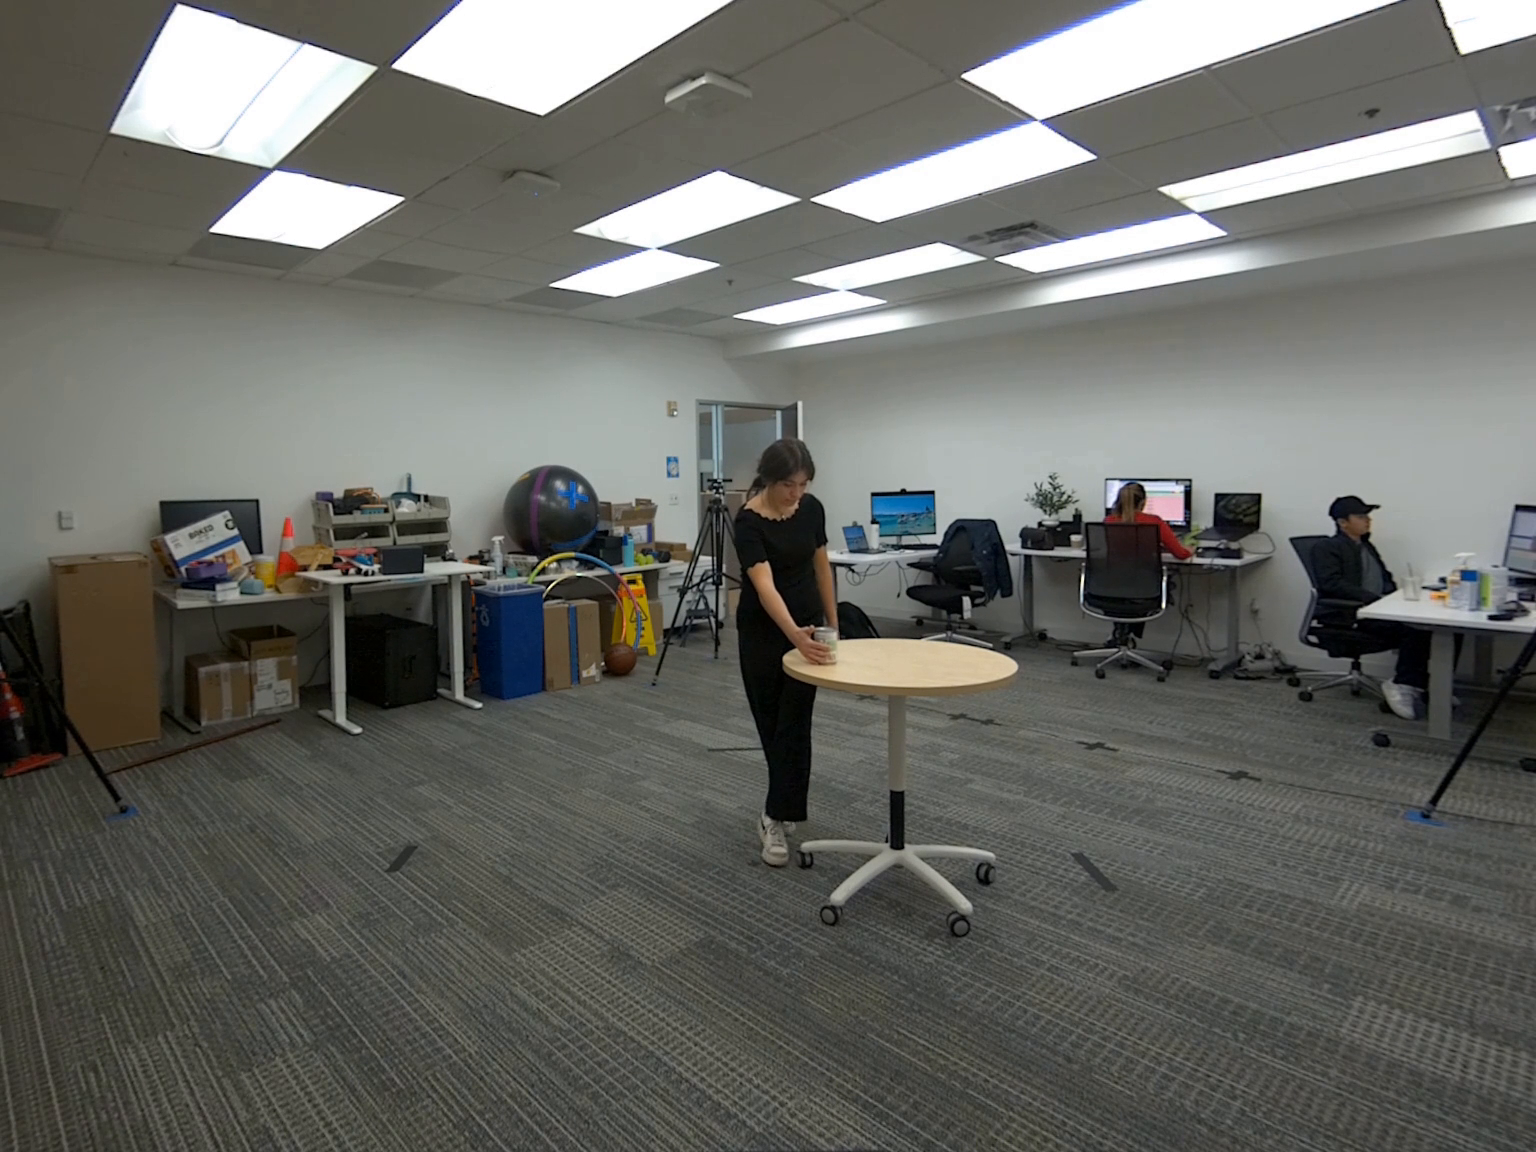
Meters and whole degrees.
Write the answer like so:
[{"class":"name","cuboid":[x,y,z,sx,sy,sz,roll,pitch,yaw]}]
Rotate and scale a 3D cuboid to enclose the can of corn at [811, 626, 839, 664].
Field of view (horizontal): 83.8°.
[{"class":"can of corn","cuboid":[0.183,0.234,2.818,0.074,0.111,0.074,-4,3,-1]}]
